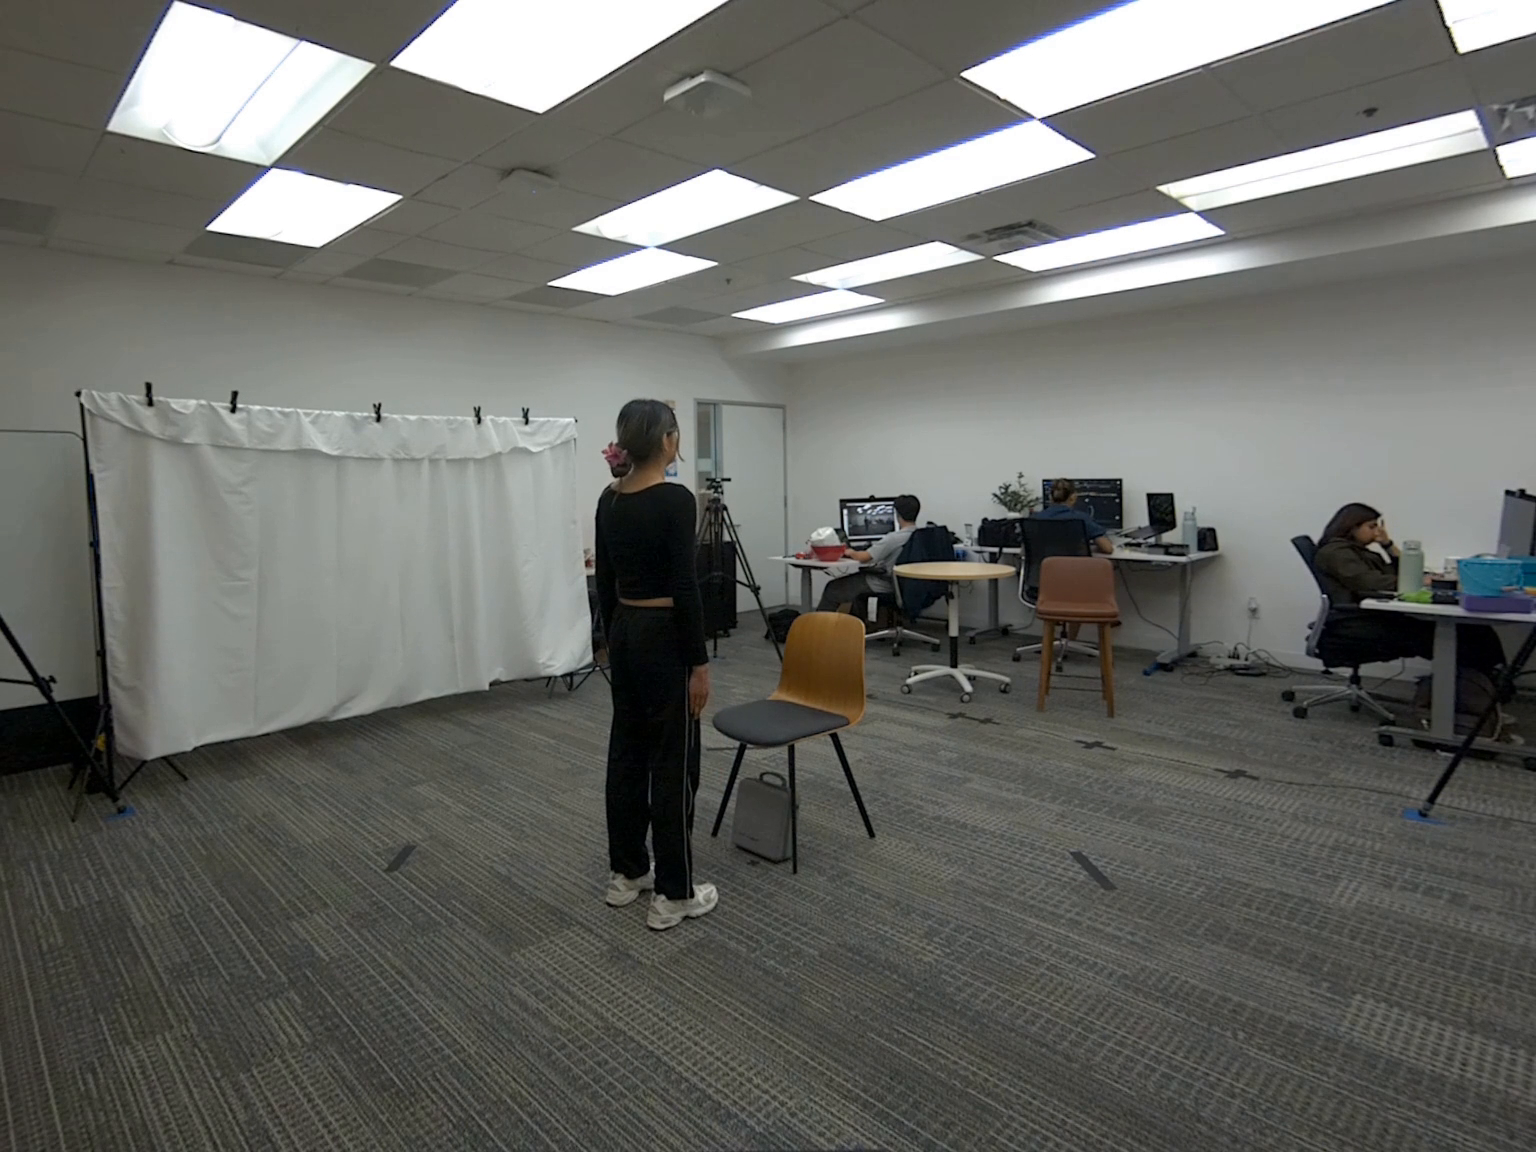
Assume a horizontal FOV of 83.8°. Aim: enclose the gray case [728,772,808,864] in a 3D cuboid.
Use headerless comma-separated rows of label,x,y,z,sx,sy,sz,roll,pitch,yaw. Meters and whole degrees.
gray case,-0.005,0.894,3.197,0.265,0.261,0.101,5,-6,45
